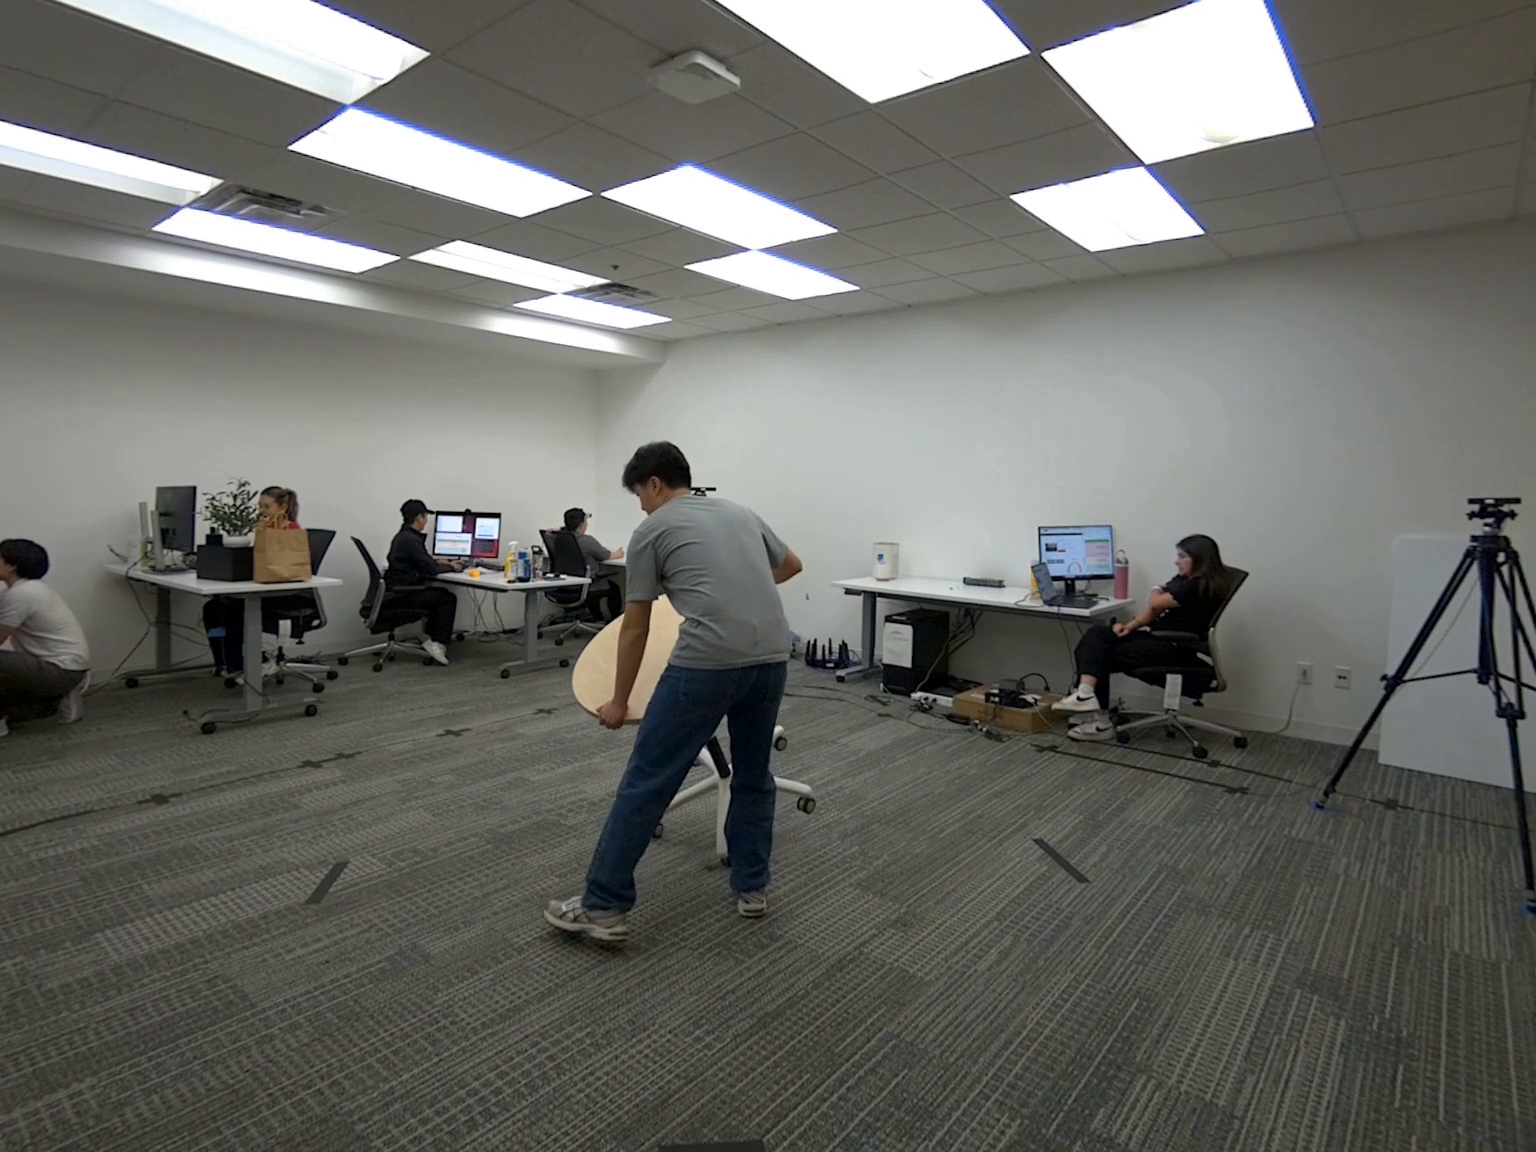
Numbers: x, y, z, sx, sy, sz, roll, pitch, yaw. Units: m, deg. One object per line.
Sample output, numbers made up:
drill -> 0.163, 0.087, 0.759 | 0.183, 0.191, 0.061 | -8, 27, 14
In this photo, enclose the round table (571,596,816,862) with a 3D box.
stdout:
round table -> -0.258, 0.575, 3.262 | 0.768, 0.770, 0.783 | -16, 28, 7
